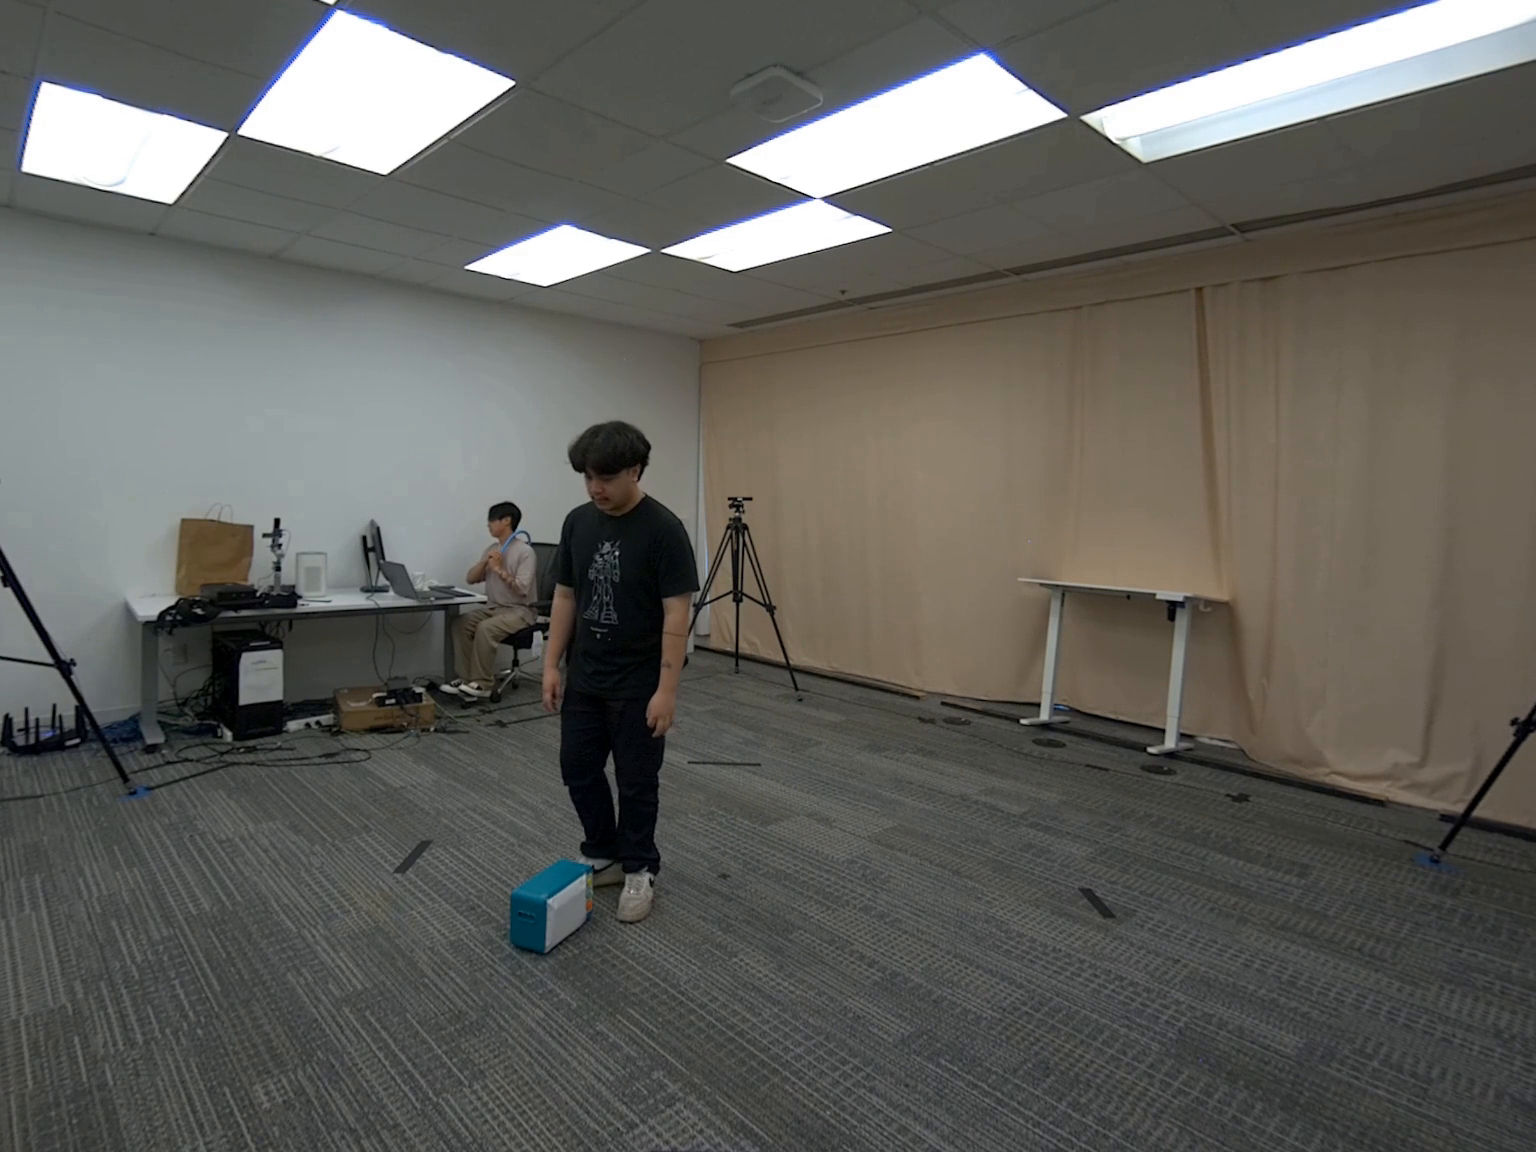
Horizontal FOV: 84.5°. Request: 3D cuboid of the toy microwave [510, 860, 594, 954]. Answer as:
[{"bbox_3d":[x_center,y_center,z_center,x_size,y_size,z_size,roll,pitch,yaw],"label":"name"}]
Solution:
[{"bbox_3d":[-0.683,1.049,2.663,0.155,0.184,0.281,3,4,23],"label":"toy microwave"}]
